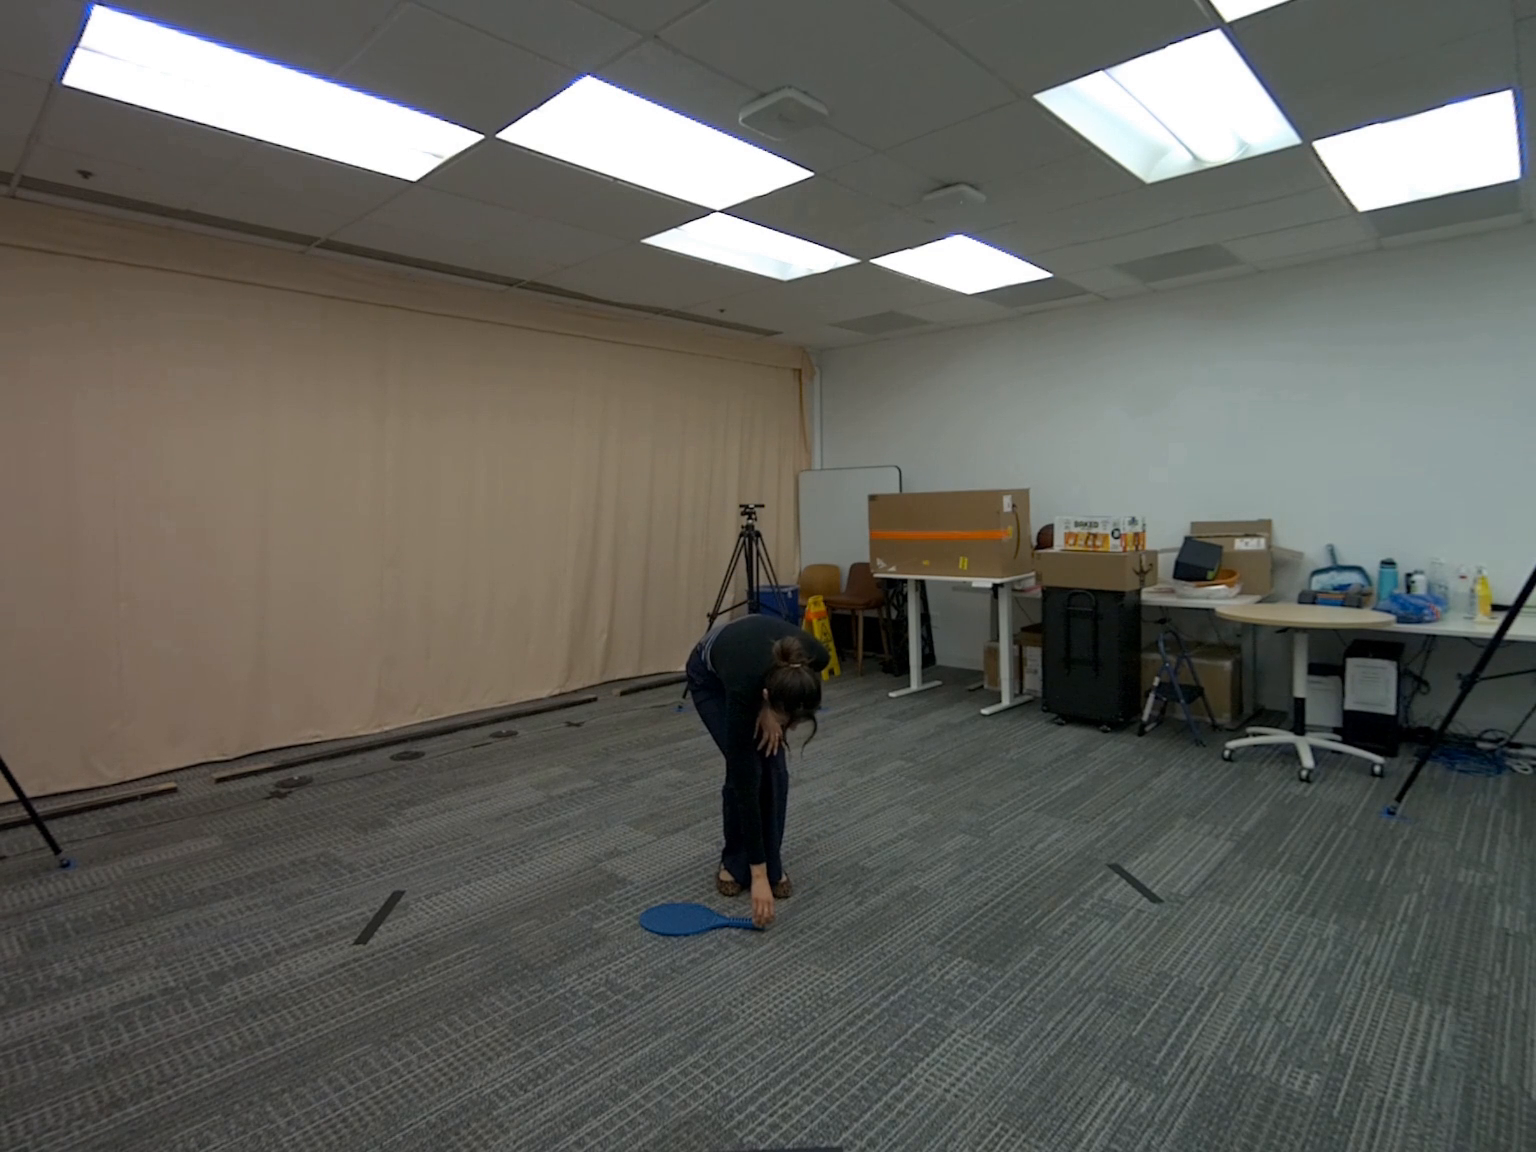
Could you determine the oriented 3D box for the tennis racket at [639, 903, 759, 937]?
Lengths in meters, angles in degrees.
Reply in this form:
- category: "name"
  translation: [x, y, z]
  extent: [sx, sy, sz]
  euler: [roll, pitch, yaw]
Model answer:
- category: "tennis racket"
  translation: [-0.216, 1.143, 2.815]
  extent: [0.438, 0.032, 0.212]
  euler: [-2, 5, 10]
